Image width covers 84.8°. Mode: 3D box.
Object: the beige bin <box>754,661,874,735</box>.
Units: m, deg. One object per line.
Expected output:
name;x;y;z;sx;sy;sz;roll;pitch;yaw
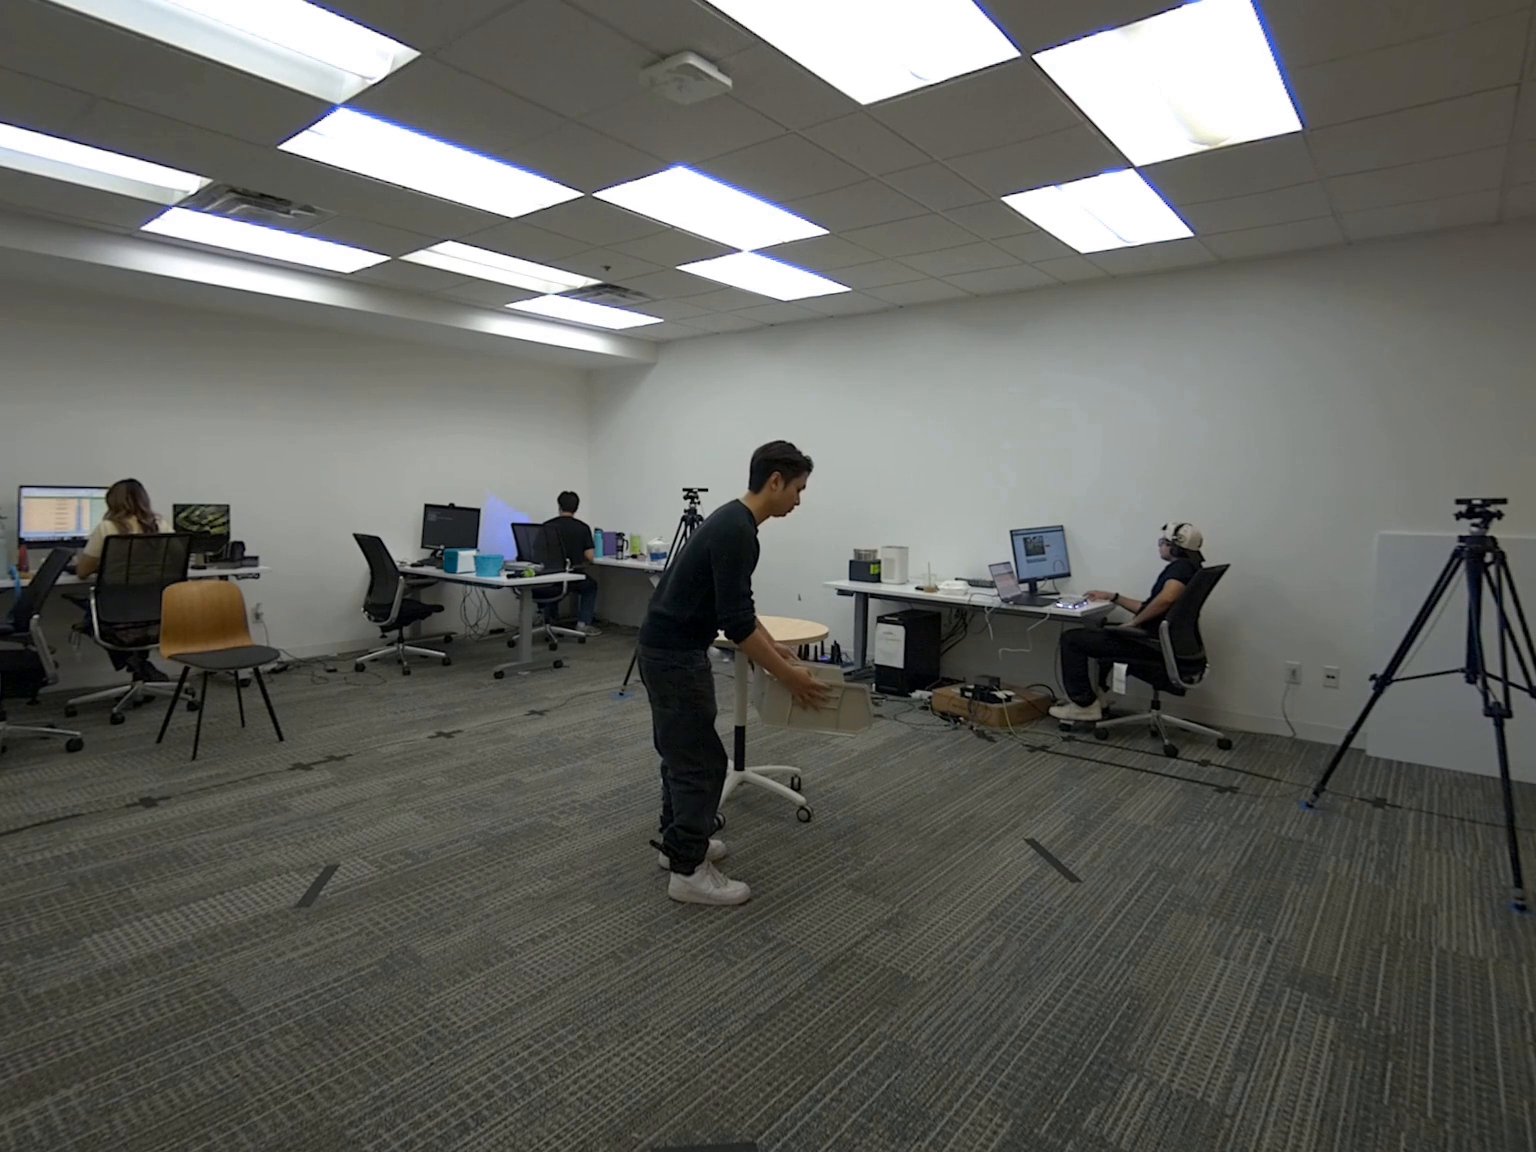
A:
beige bin;0.133;0.427;3.037;0.375;0.188;0.426;6;3;-6
